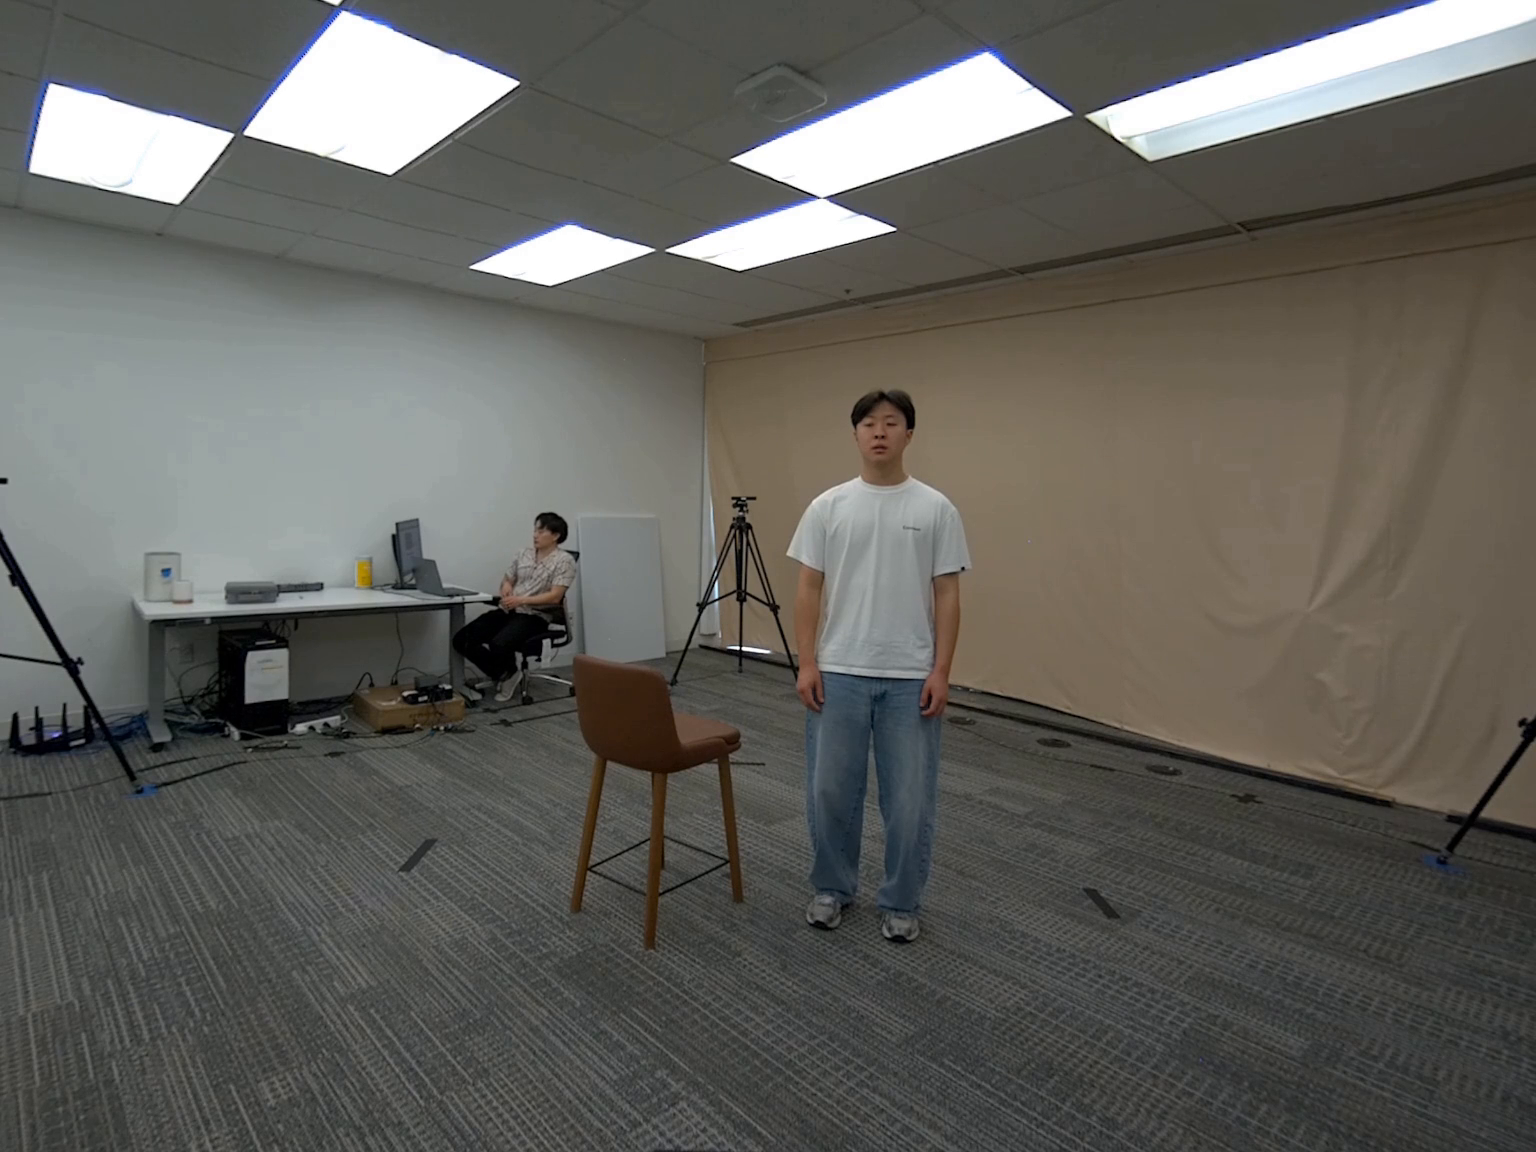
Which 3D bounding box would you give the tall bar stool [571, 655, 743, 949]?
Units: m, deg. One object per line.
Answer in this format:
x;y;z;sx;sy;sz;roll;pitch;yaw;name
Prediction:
-0.379;0.687;2.847;0.468;0.886;0.458;4;6;39;tall bar stool
